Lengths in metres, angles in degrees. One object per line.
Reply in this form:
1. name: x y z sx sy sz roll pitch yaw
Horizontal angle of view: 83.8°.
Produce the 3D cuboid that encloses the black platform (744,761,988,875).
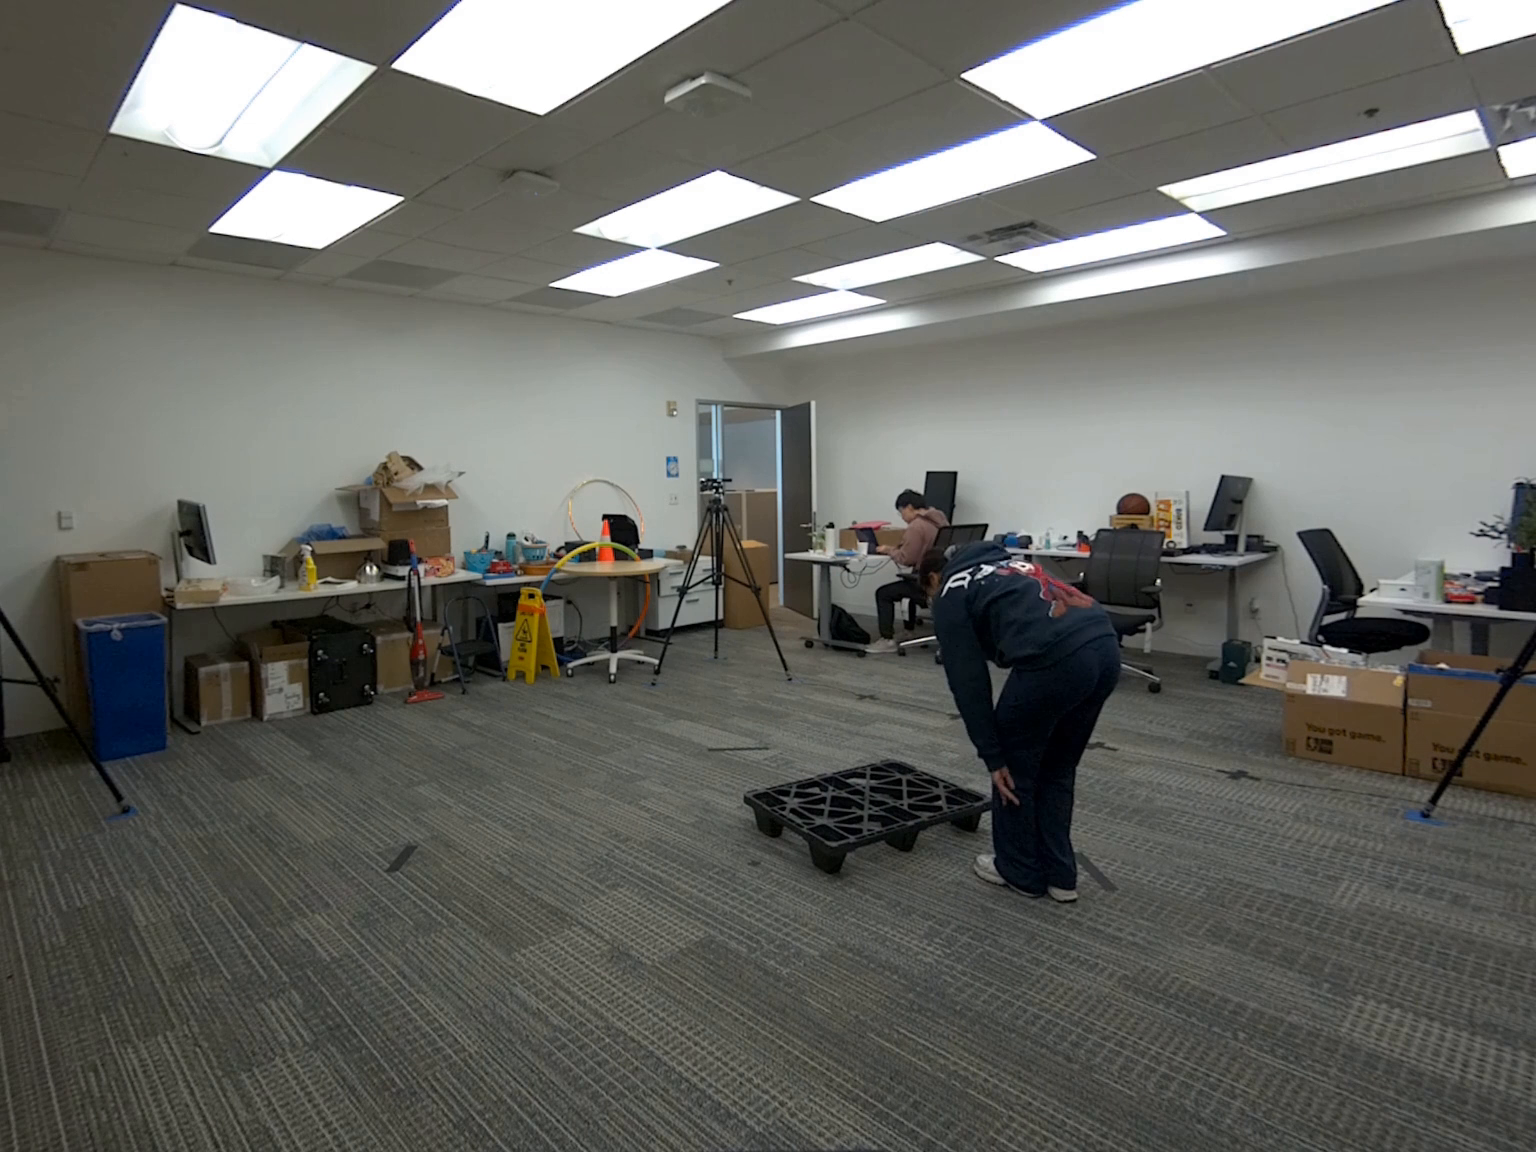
1. black platform: 0.398 0.939 3.381 0.787 0.142 0.623 -5 8 -31
